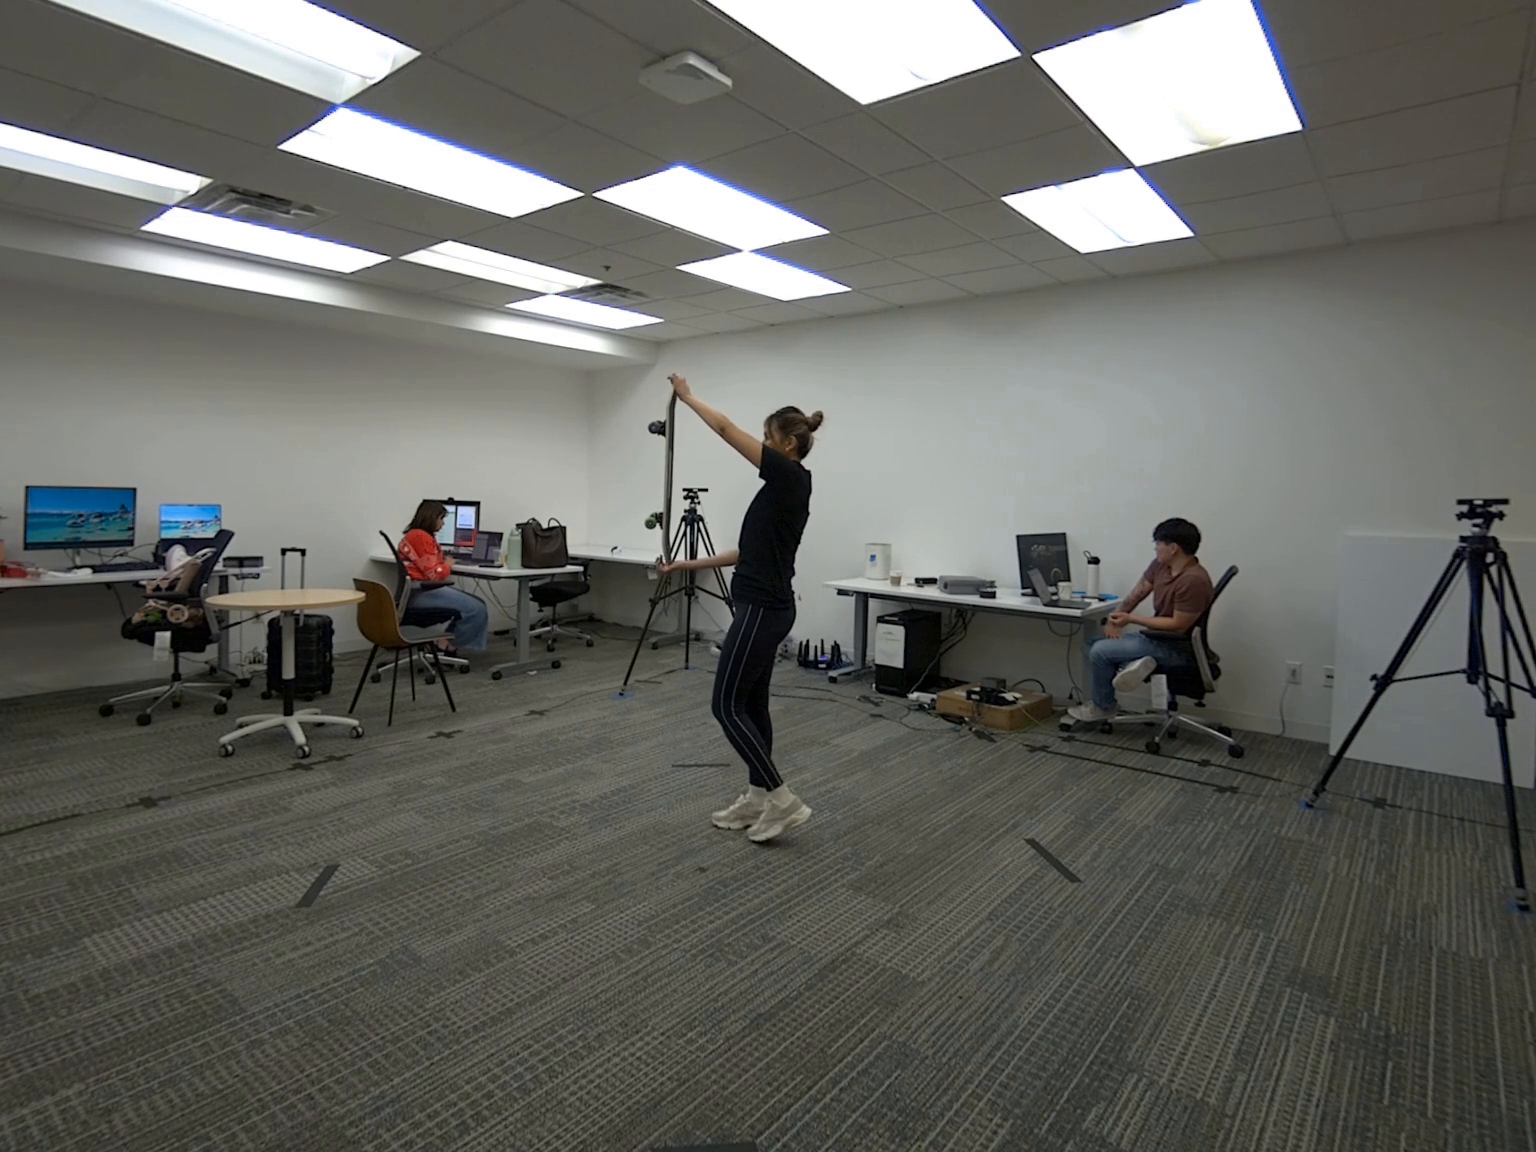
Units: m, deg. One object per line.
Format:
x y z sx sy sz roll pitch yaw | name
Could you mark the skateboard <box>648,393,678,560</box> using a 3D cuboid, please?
-0.465 -0.434 3.599 0.111 0.779 0.194 3 8 1 | skateboard
